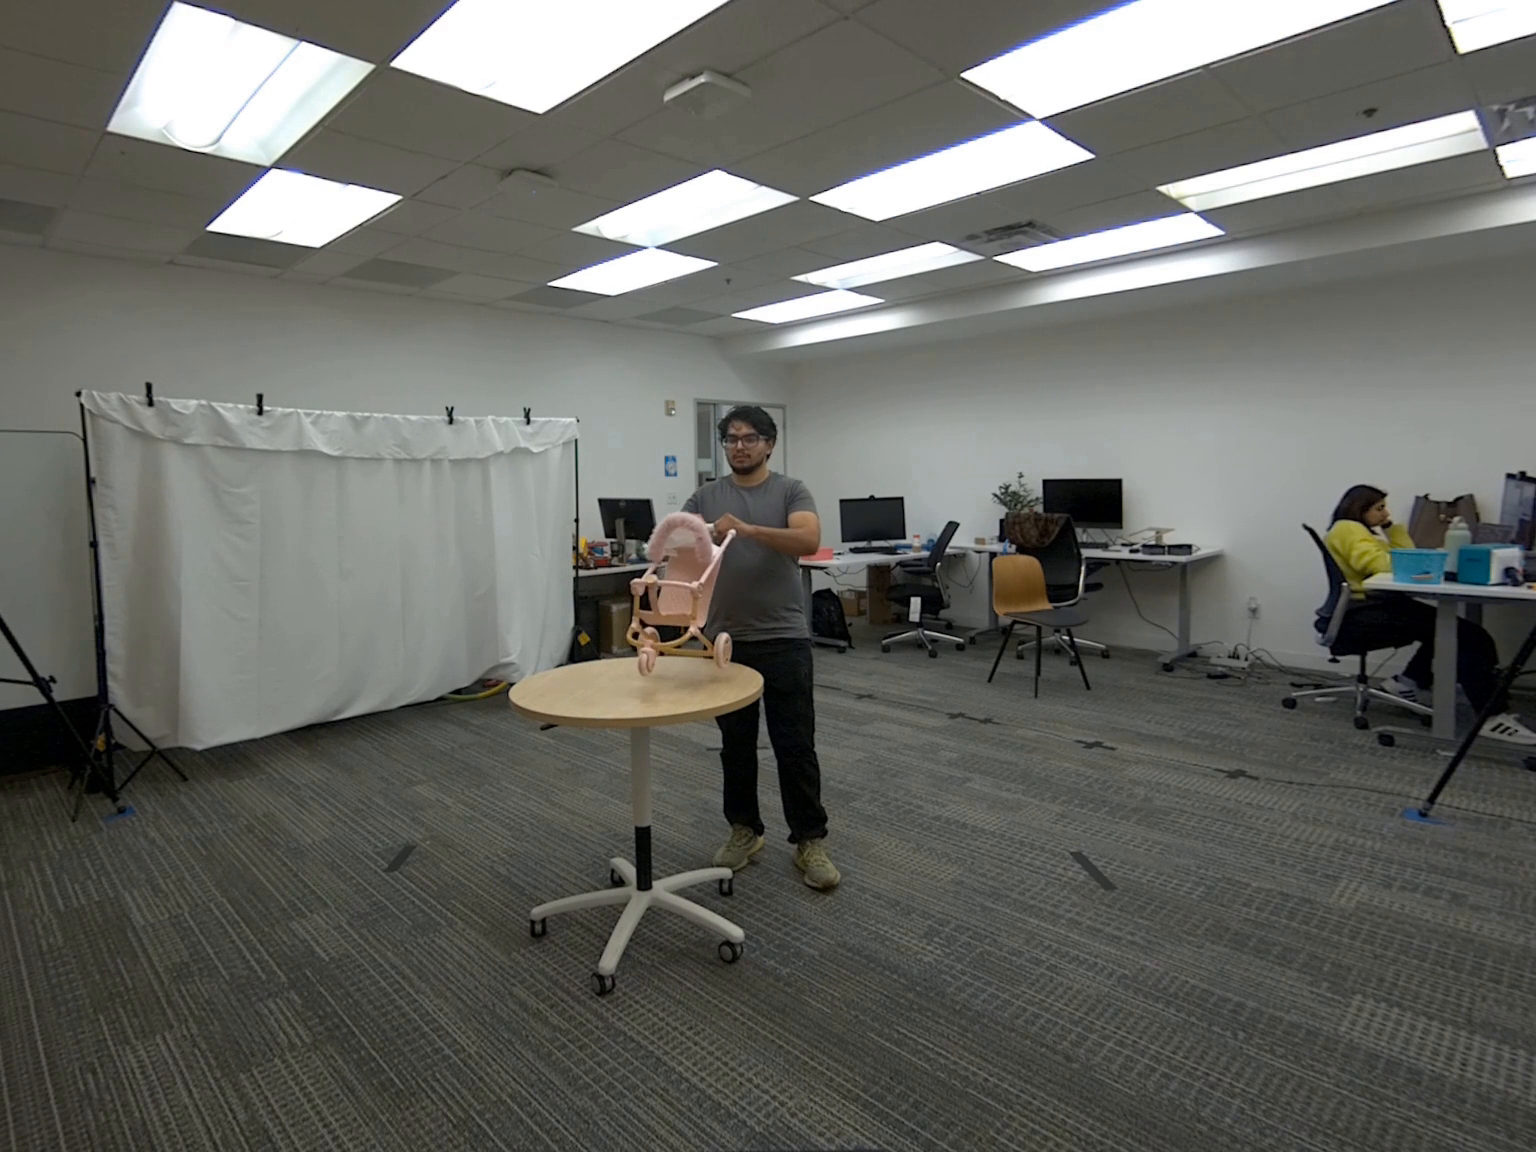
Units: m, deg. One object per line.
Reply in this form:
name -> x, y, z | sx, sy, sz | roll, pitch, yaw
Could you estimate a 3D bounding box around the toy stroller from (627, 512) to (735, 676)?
toy stroller -> -0.270, 0.056, 2.546 | 0.288, 0.540, 0.330 | 0, -14, 25
